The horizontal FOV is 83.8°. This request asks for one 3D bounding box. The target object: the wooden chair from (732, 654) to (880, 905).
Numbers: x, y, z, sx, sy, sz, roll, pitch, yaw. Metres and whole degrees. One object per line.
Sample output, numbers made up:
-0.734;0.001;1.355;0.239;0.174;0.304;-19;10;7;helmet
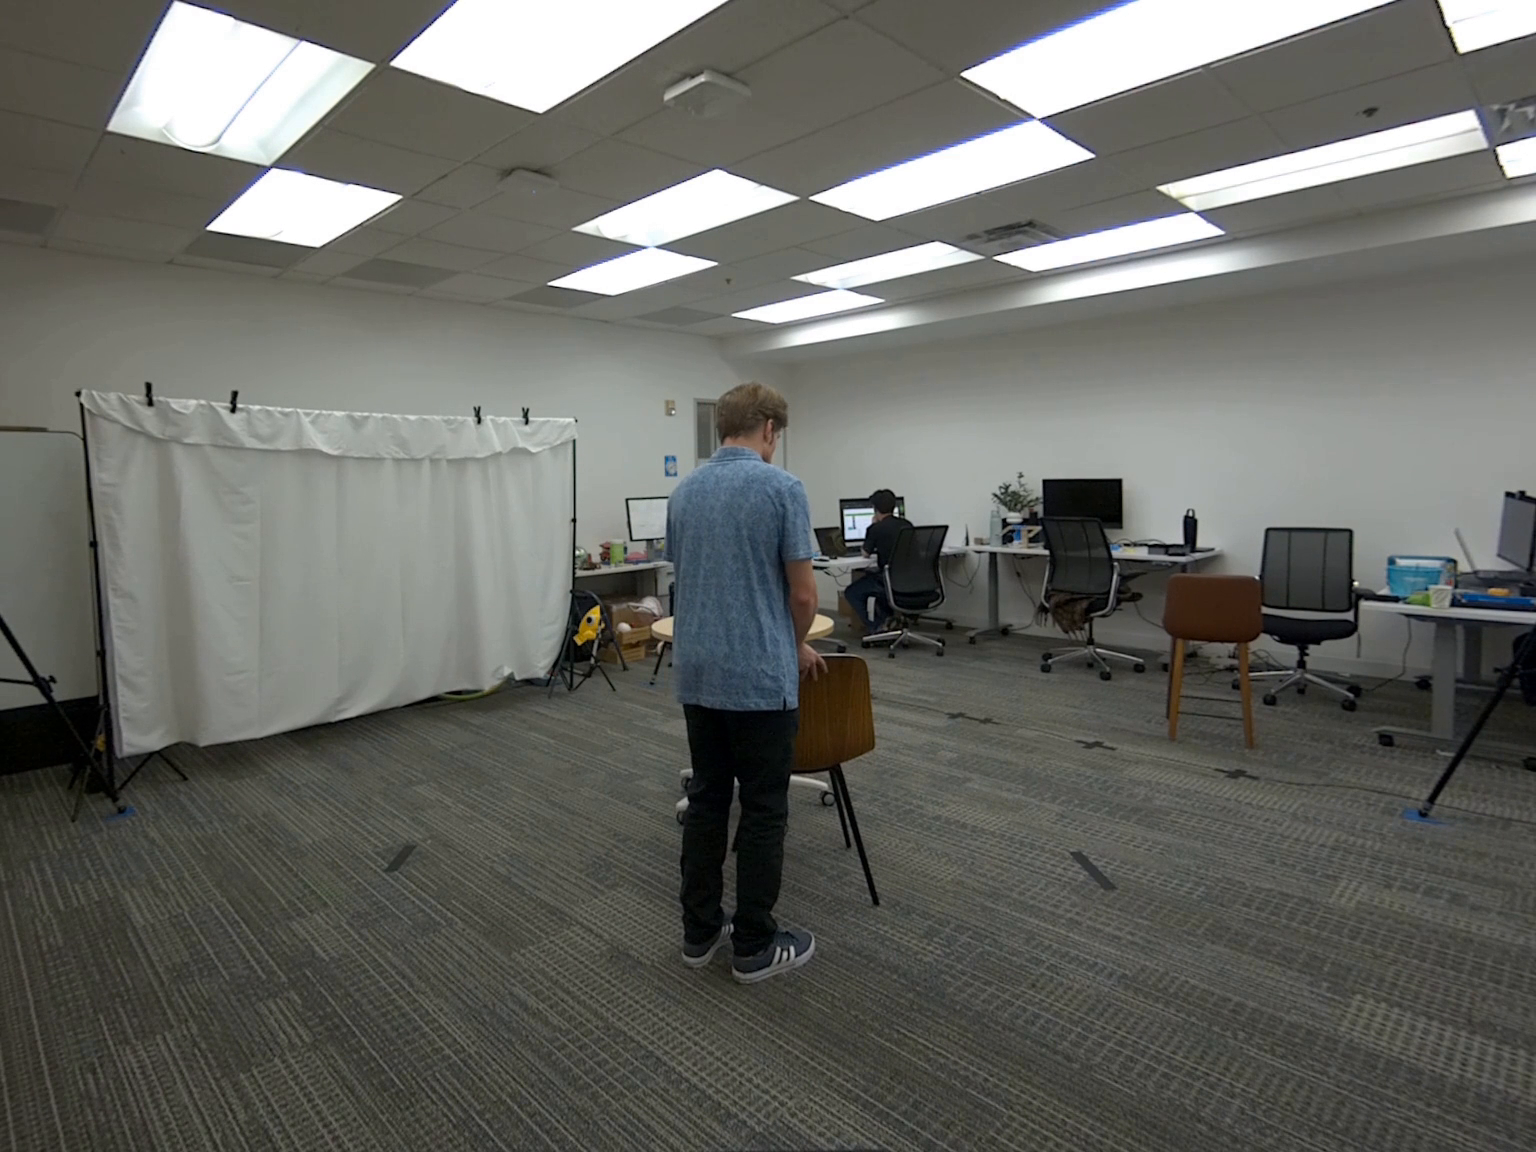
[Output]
0.106;0.630;2.966;0.475;0.871;0.530;-2;8;-7;wooden chair
